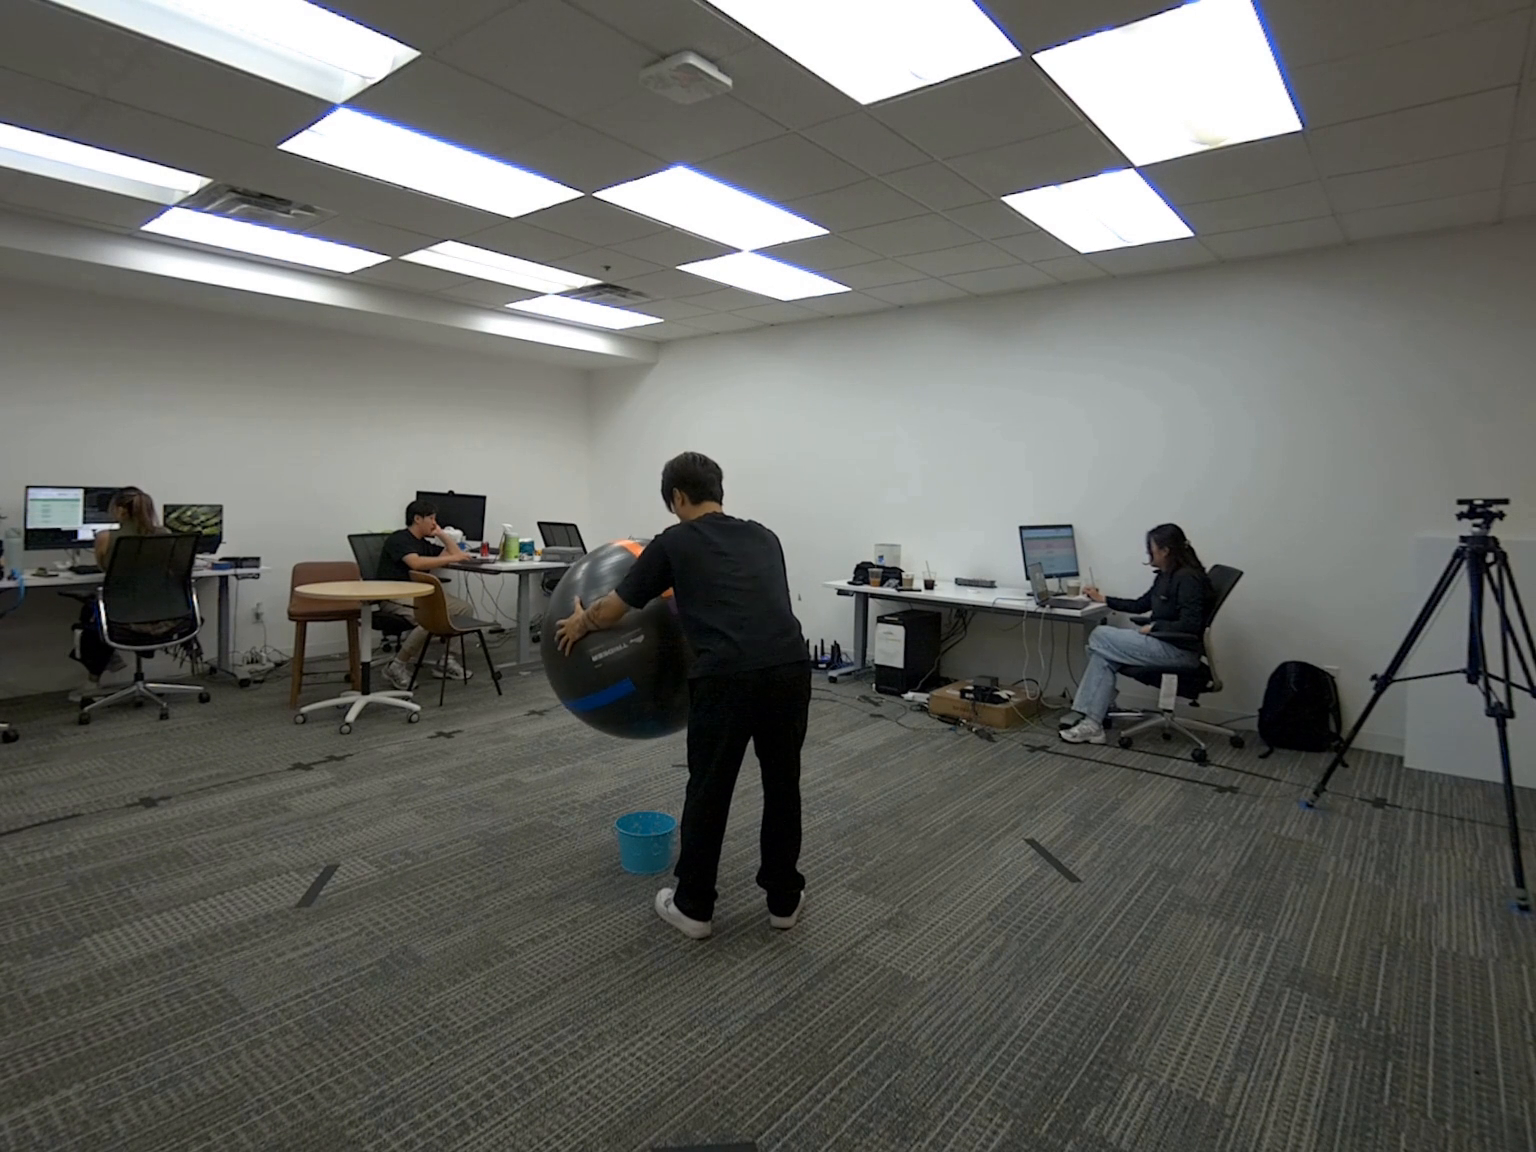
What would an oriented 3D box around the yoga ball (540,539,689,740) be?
[{"bbox_3d":[-0.508,0.236,3.267,0.757,0.755,0.762,1,4,-2],"label":"yoga ball"}]
